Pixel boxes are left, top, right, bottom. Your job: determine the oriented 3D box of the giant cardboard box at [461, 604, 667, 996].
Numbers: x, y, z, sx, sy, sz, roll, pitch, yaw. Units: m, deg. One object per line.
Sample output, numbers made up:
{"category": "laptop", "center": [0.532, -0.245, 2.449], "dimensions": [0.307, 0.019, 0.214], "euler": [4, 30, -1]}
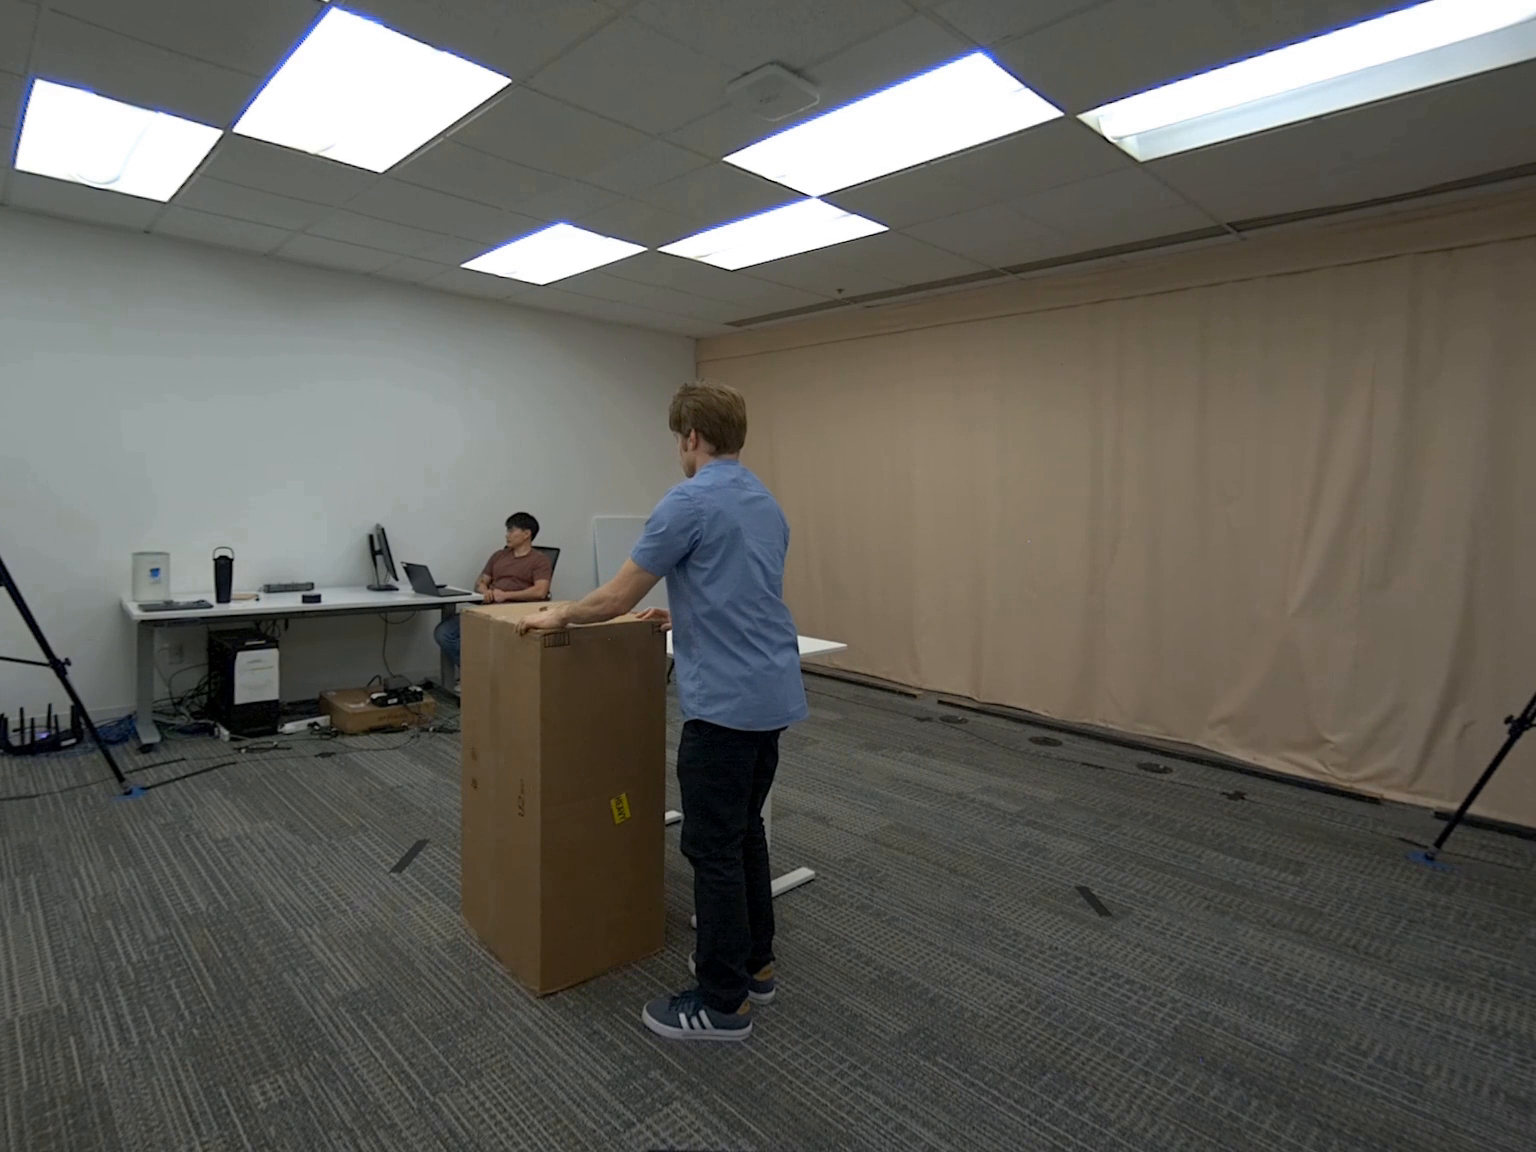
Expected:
{"category": "giant cardboard box", "center": [-0.659, 0.624, 2.644], "dimensions": [0.416, 1.024, 0.592], "euler": [-1, 3, -39]}
